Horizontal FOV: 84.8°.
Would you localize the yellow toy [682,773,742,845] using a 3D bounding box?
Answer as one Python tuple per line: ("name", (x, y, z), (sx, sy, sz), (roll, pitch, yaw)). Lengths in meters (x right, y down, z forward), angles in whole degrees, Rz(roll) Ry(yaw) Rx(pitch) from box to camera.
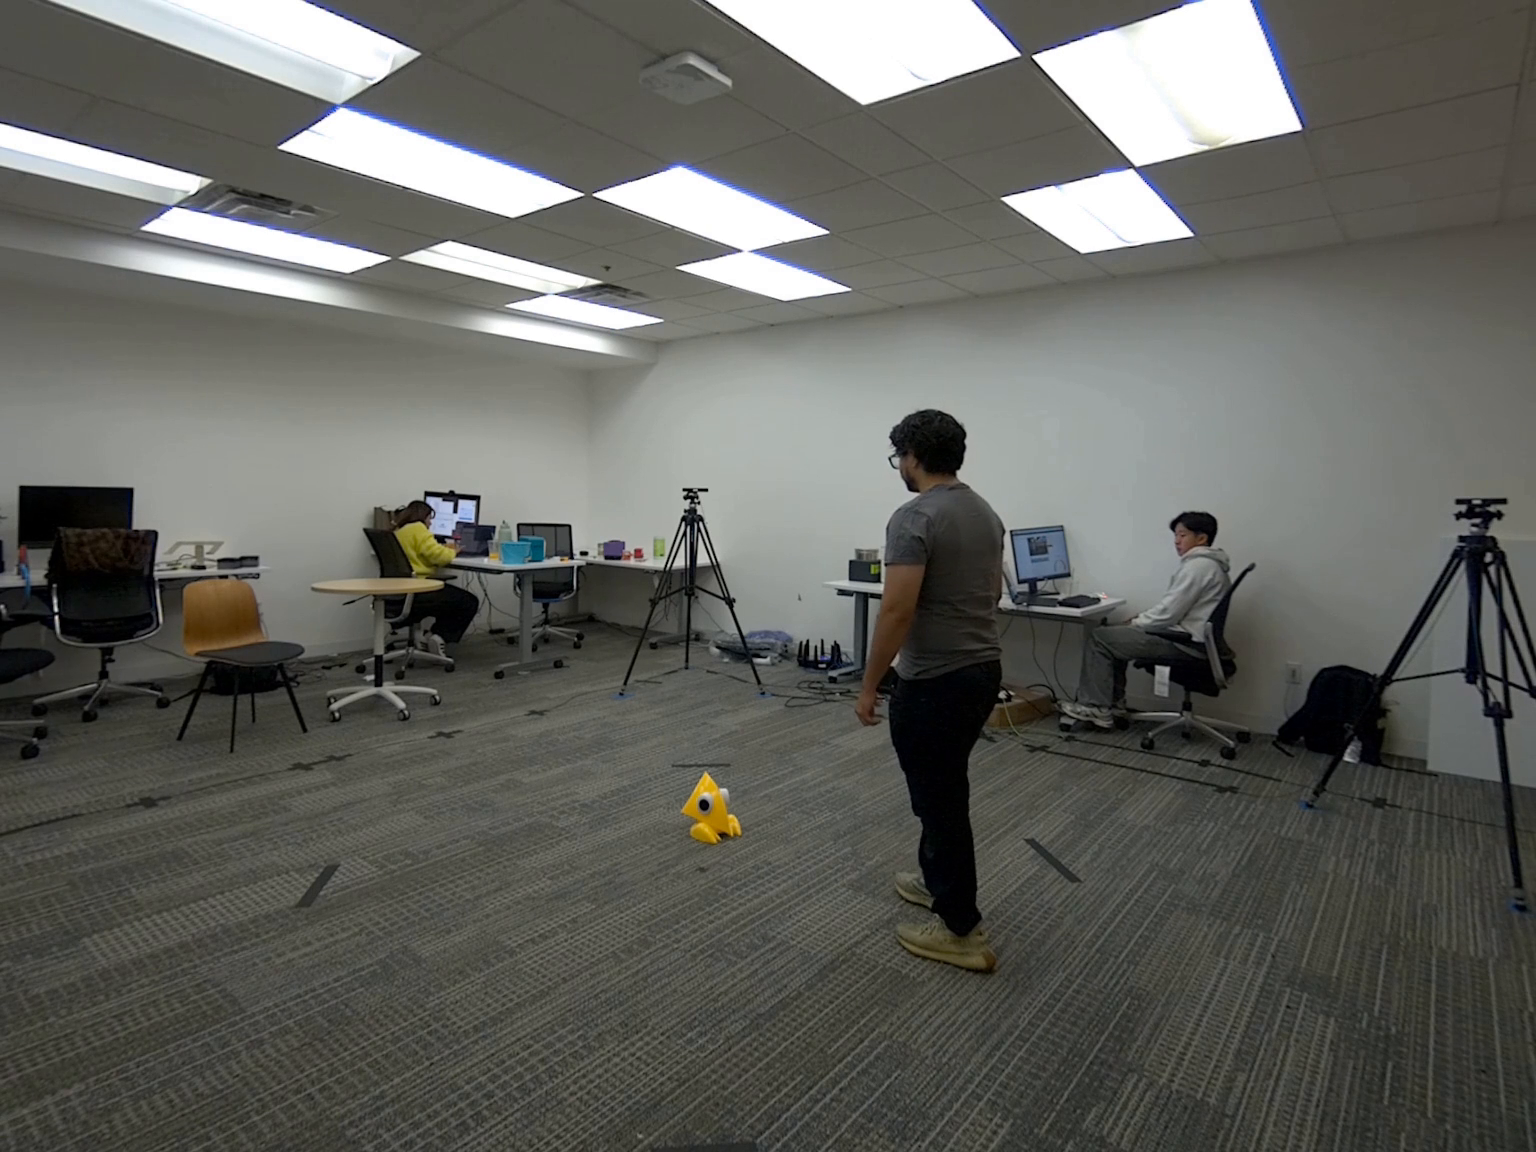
("yellow toy", (-0.228, 0.925, 3.450), (0.199, 0.230, 0.200), (-3, 6, -41))
